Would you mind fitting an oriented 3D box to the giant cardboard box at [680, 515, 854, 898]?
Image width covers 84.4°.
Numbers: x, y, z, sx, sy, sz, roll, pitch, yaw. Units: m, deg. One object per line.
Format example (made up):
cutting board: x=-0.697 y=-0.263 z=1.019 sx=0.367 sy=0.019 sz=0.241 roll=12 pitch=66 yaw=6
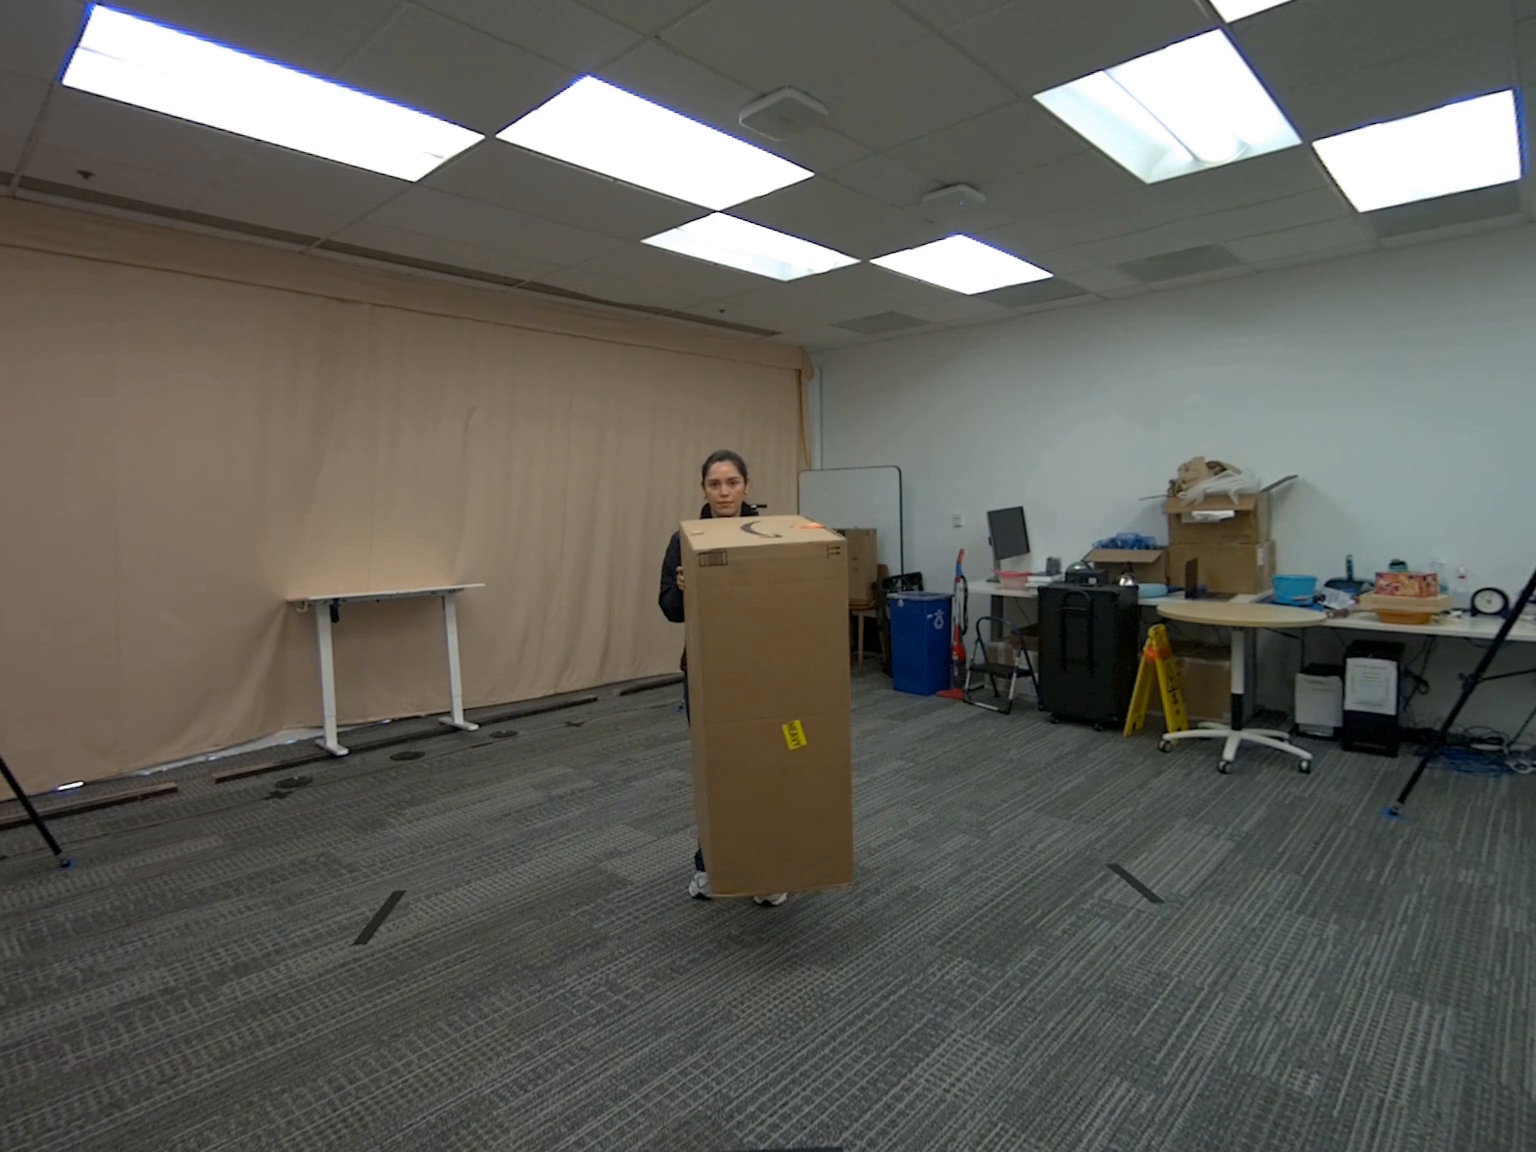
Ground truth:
giant cardboard box: x=-0.013 y=0.365 z=2.626 sx=0.423 sy=1.020 sz=0.585 roll=-4 pitch=9 yaw=-7
